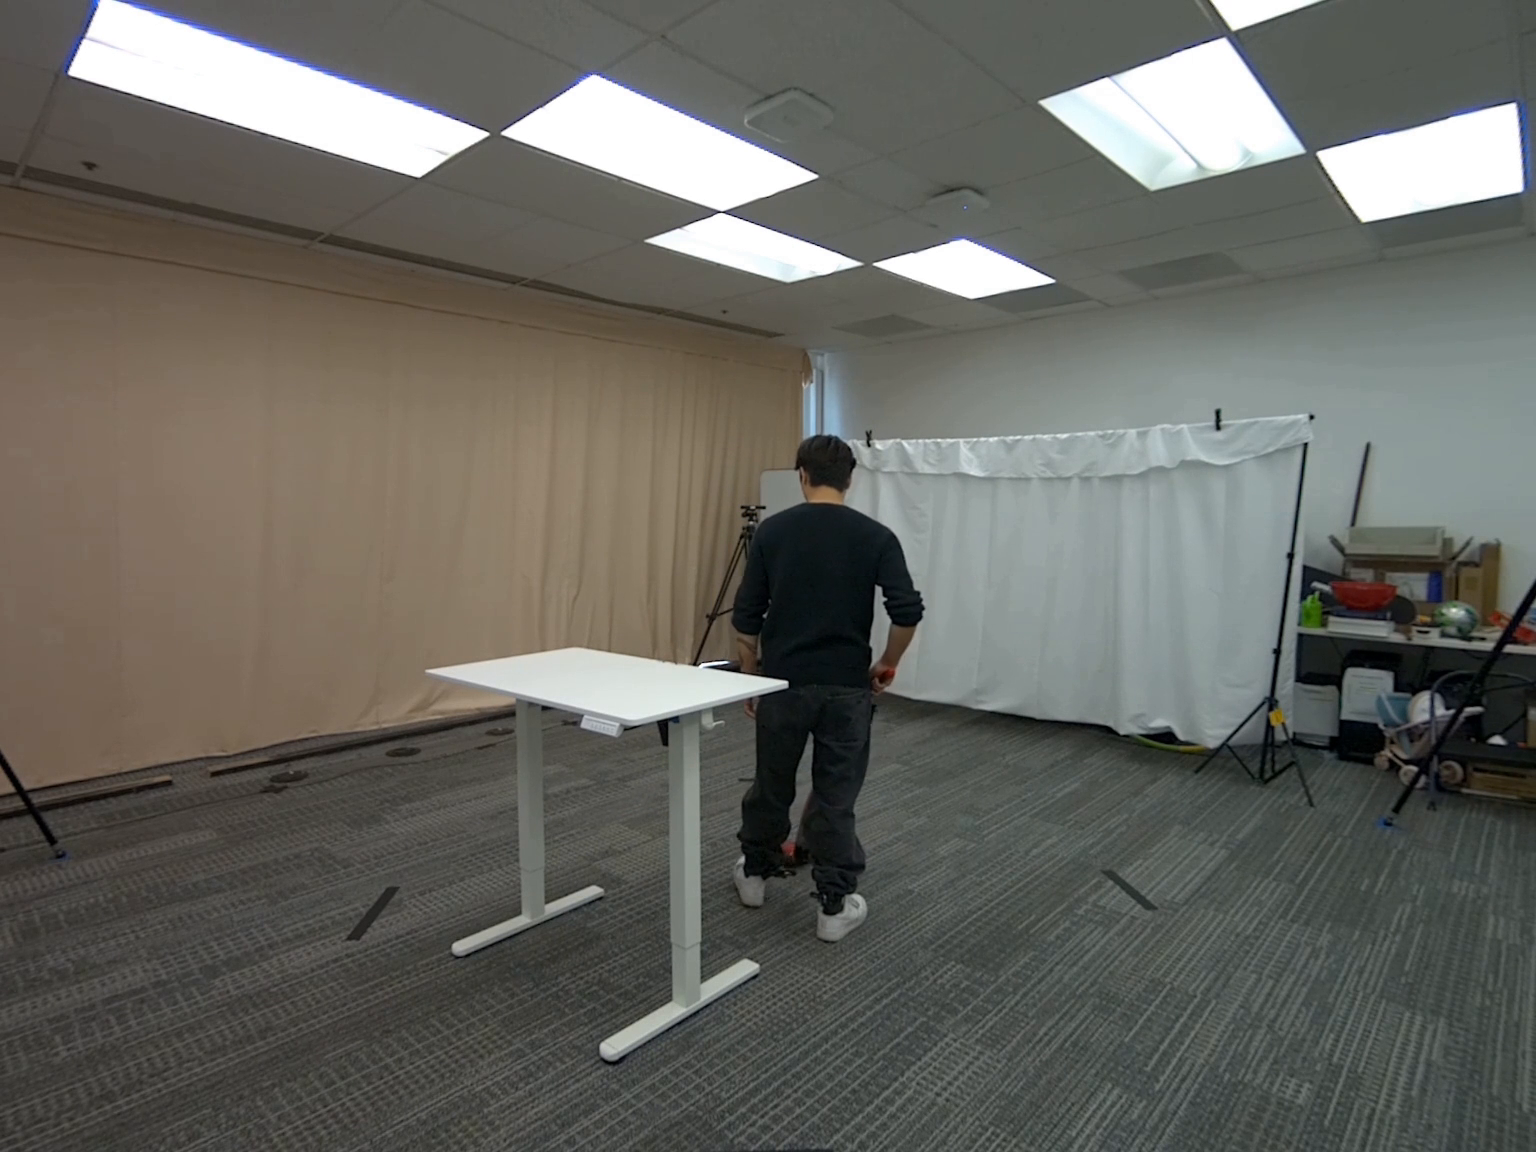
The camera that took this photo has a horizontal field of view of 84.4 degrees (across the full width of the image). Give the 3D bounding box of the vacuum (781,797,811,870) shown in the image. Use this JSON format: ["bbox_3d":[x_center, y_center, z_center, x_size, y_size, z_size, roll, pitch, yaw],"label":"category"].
[{"bbox_3d":[0.243,0.711,3.030,0.246,1.043,0.149,-1,40,-28],"label":"vacuum"}]
